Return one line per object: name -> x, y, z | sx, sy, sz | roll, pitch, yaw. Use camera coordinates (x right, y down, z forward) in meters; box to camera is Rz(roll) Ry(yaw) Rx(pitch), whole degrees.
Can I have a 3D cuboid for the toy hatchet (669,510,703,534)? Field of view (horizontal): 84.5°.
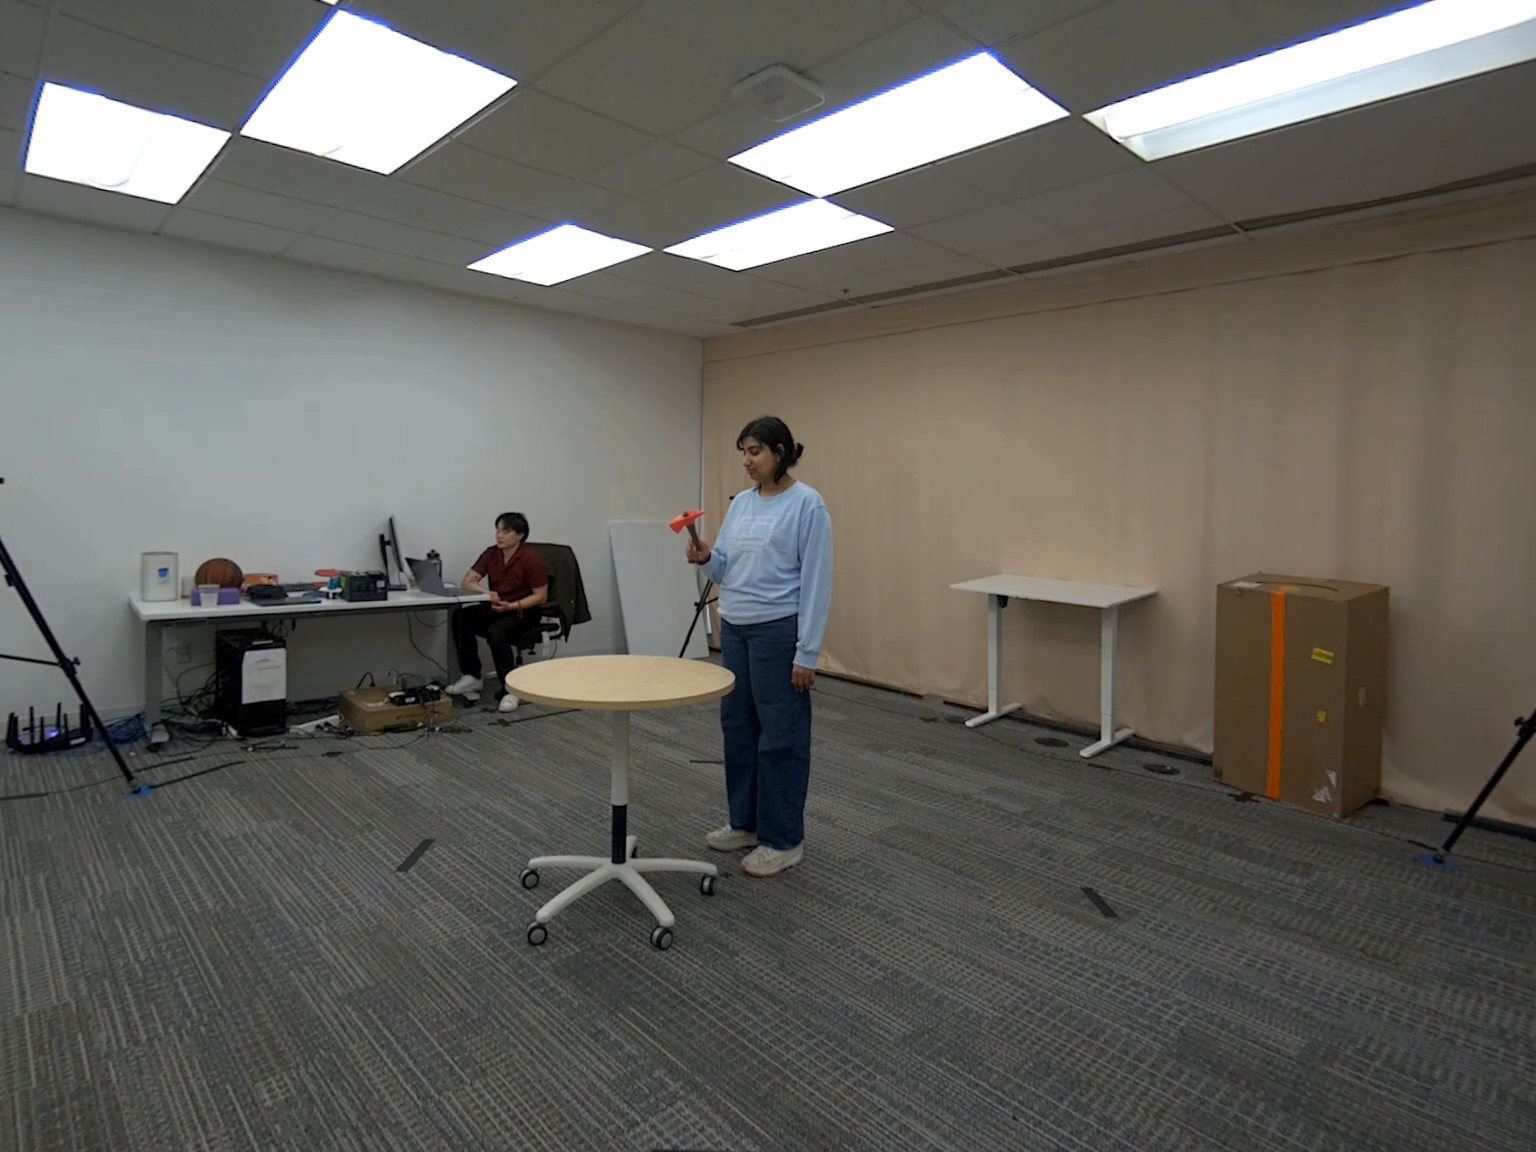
toy hatchet -> -0.302, -0.133, 3.073 | 0.129, 0.265, 0.030 | -11, 49, -18
